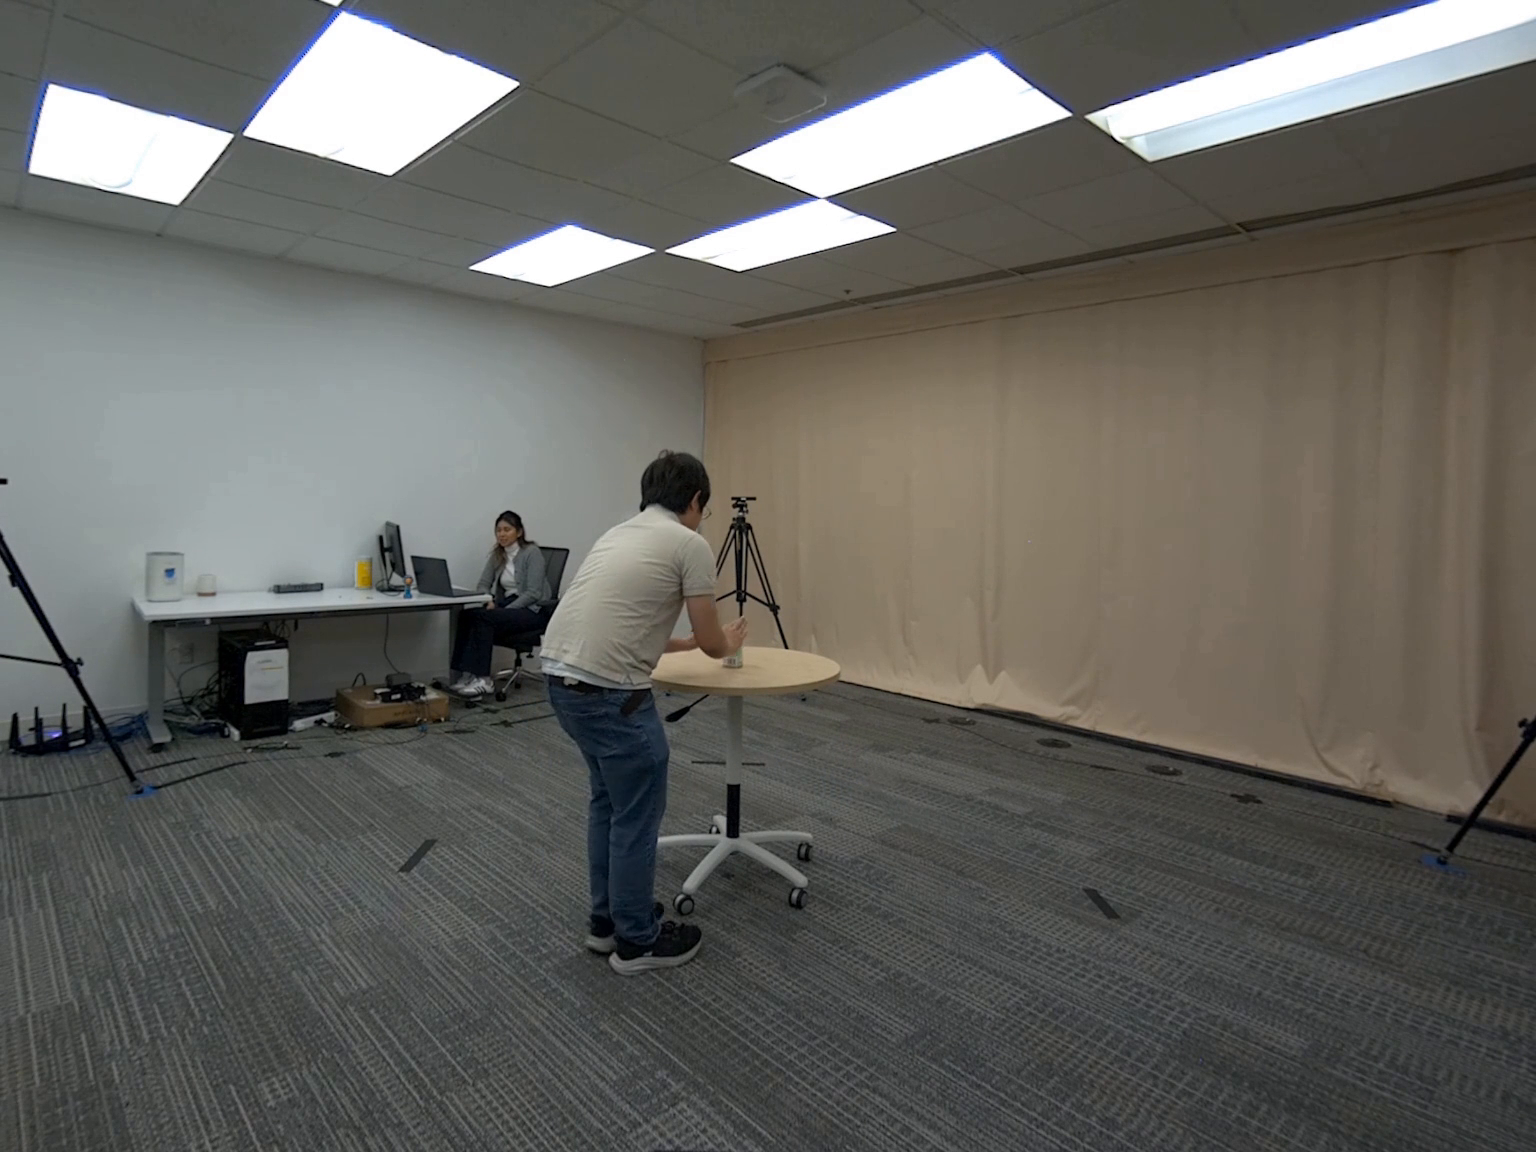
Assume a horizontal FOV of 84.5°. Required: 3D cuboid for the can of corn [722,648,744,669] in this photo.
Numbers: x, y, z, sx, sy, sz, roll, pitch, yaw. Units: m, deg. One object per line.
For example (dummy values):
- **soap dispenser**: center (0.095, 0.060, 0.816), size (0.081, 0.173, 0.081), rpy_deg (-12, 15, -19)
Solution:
- **can of corn**: center (-0.137, 0.279, 3.047), size (0.074, 0.110, 0.074), rpy_deg (0, 5, -1)
